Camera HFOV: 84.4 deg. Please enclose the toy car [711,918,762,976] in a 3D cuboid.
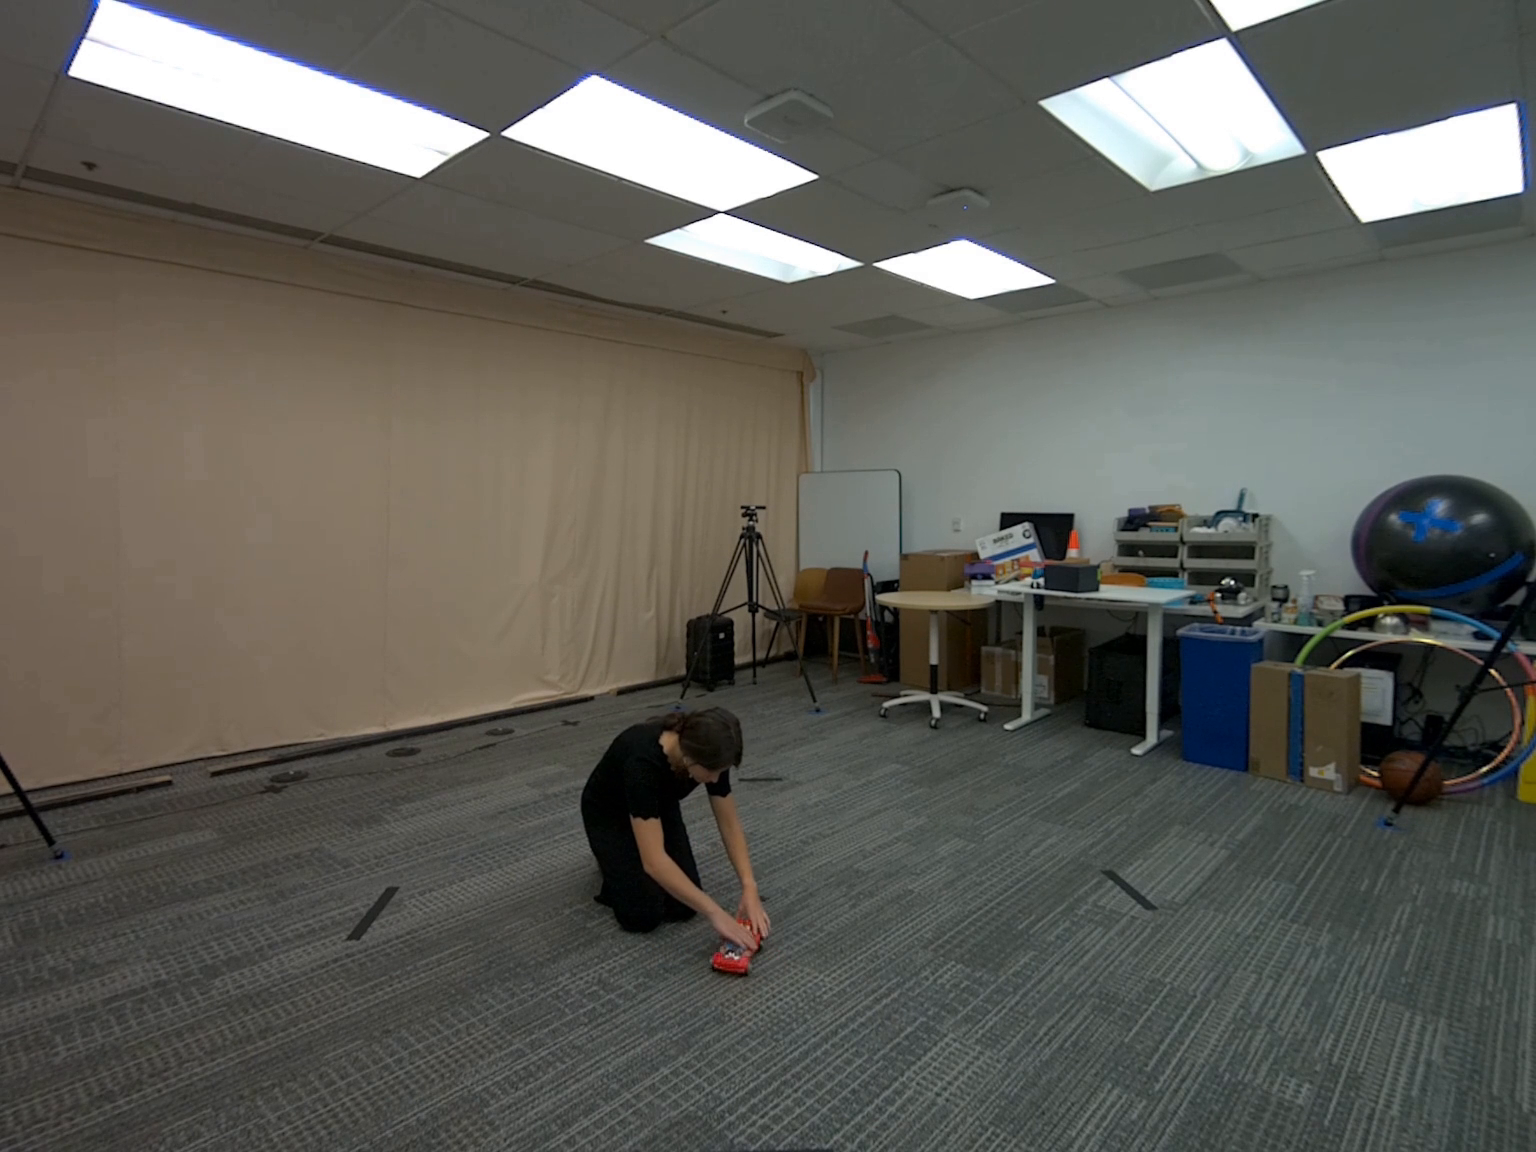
[{"bbox_3d":[-0.080,1.149,2.595,0.132,0.082,0.253,1,15,12],"label":"toy car"}]
